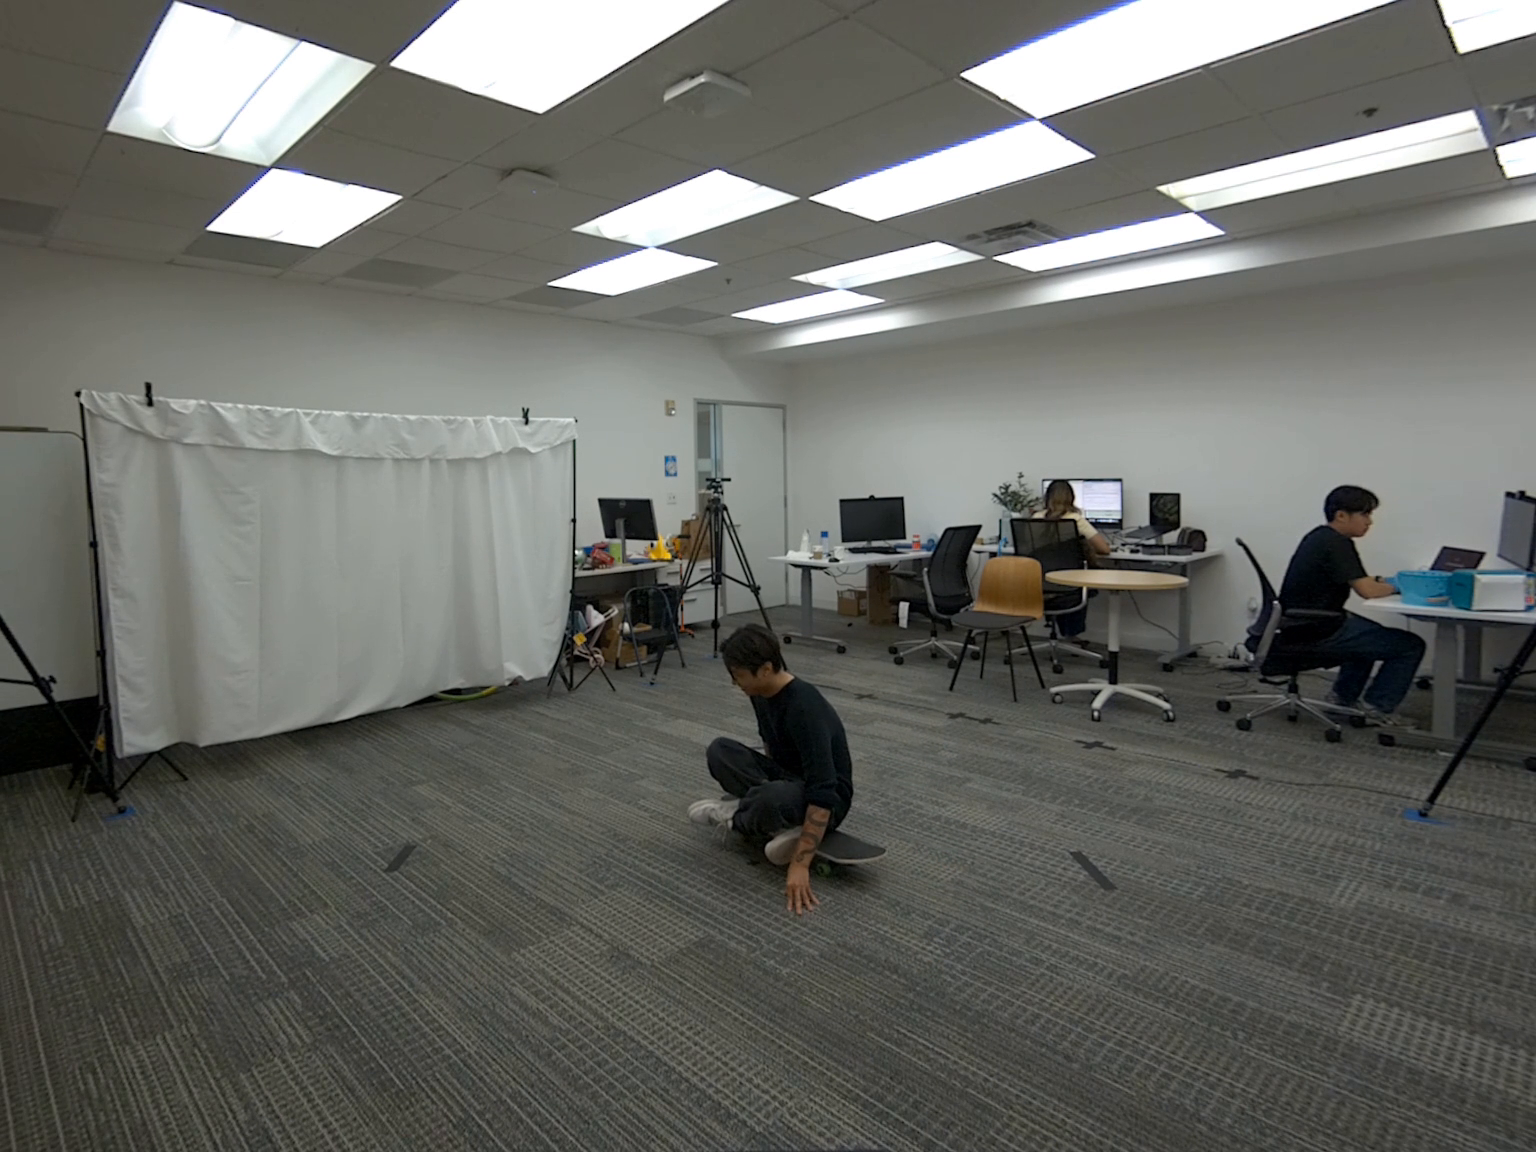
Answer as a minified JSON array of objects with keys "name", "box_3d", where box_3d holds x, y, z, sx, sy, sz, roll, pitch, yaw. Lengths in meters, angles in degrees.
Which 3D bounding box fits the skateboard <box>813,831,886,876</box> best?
[{"name":"skateboard","box_3d":[0.094,0.986,3.174,0.809,0.110,0.188,4,7,43]}]
